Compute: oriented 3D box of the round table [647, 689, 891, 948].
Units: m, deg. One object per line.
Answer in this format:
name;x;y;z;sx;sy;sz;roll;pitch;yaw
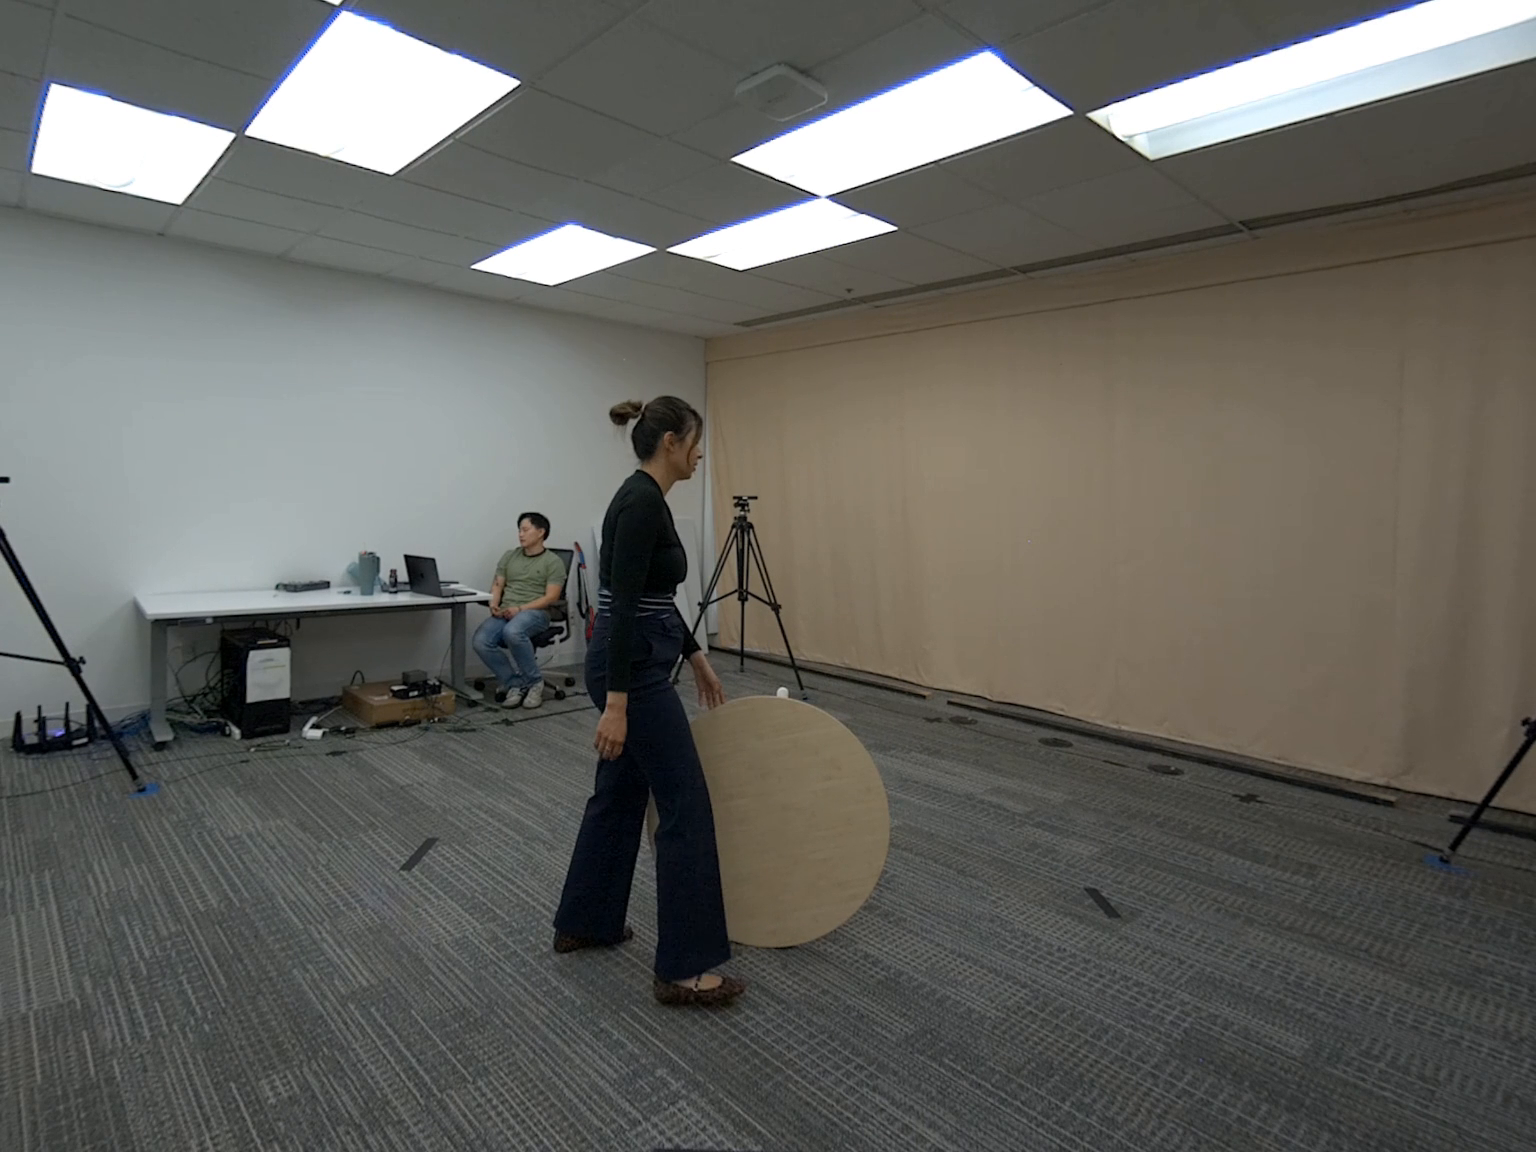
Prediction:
round table;0.017;0.788;3.024;0.768;0.766;0.788;2;-3;5
